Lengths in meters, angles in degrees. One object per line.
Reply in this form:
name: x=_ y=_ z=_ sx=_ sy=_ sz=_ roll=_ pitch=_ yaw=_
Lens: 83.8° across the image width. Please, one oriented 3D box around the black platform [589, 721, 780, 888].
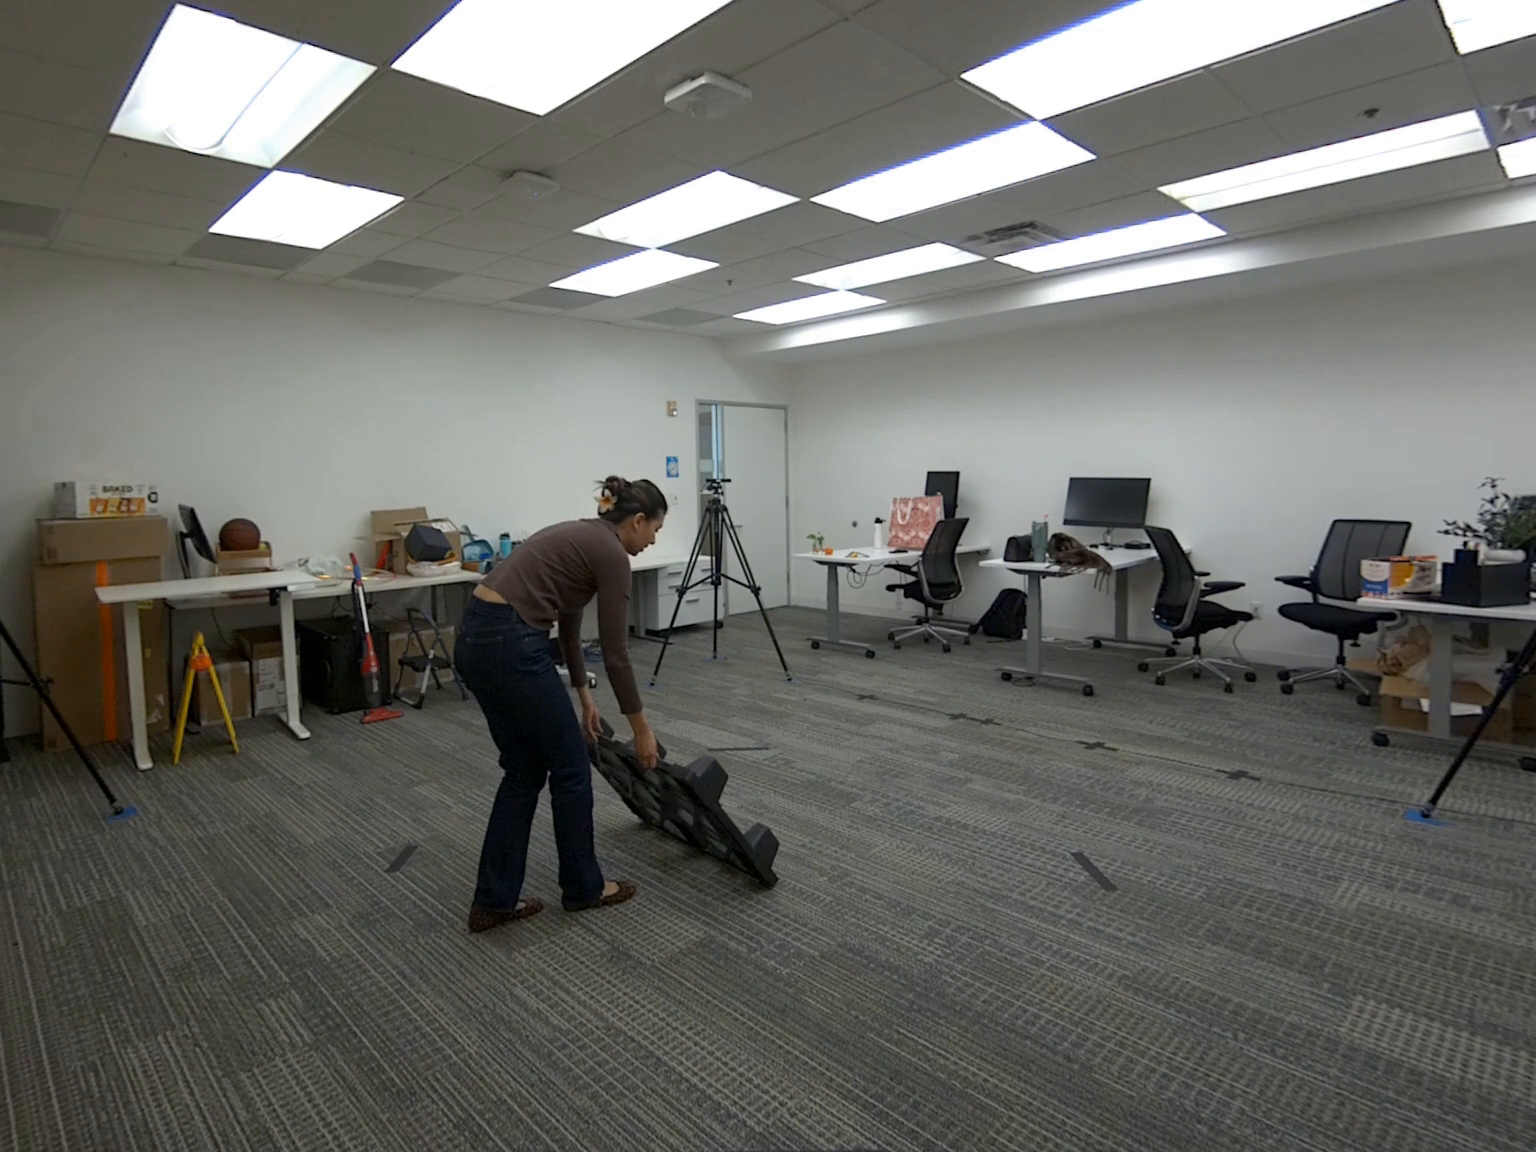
black platform: x=-0.352 y=0.778 z=3.100 sx=0.831 sy=0.586 sz=0.143 roll=6 pitch=46 yaw=49
